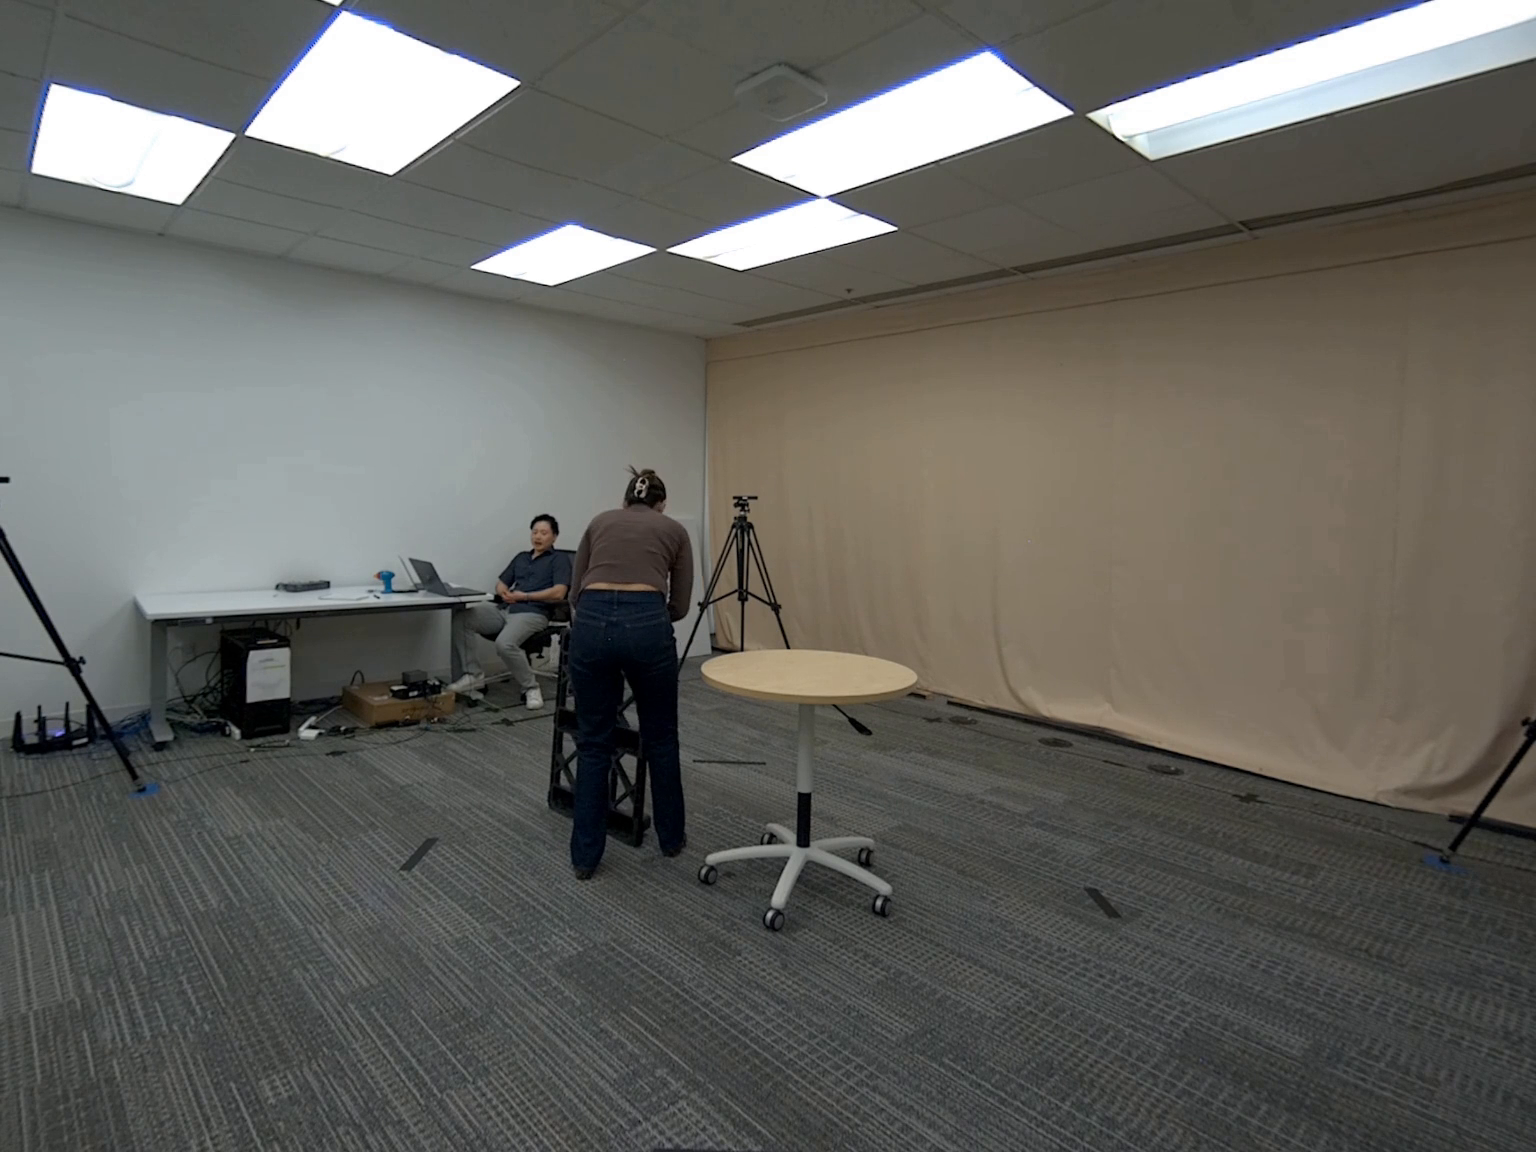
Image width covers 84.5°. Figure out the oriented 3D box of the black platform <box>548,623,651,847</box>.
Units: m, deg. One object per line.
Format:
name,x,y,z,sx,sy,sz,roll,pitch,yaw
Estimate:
black platform,-0.693,0.652,3.568,0.620,0.805,0.140,5,1,42
